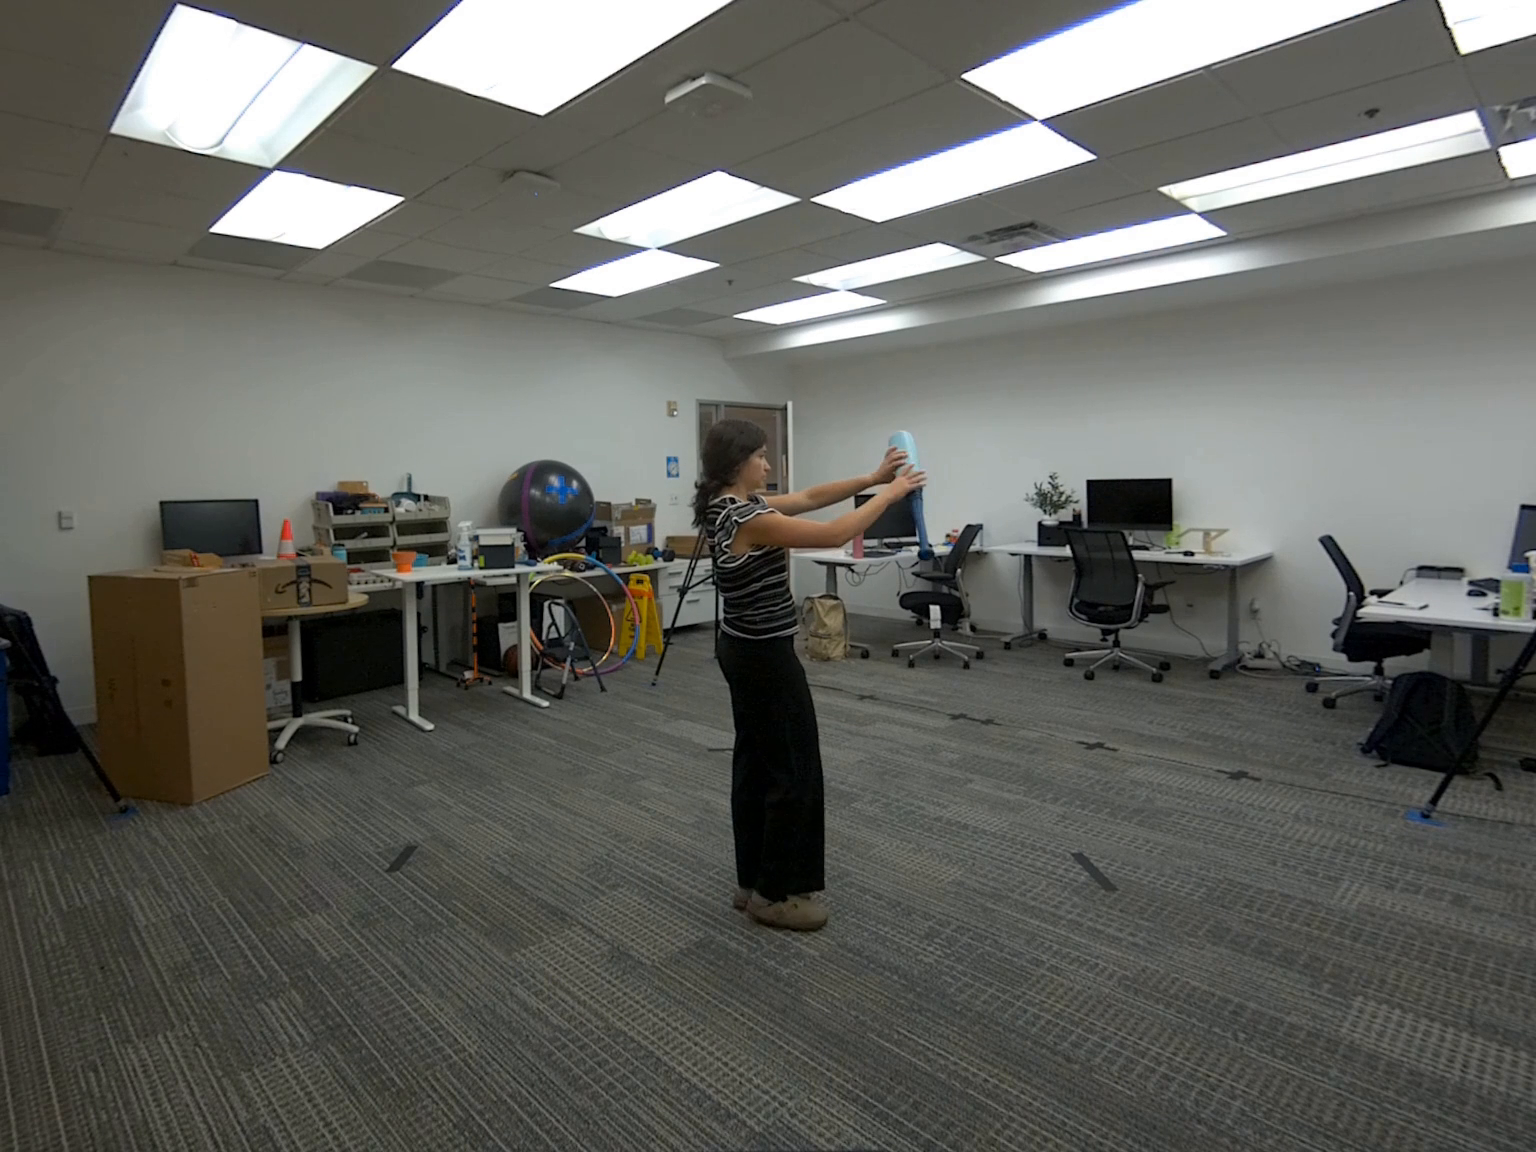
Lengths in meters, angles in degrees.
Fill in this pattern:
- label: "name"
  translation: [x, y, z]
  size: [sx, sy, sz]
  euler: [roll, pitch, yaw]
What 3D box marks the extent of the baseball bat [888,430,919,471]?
- label: "baseball bat"
  translation: [0.470, -0.266, 2.713]
  size: [0.089, 0.086, 0.558]
  euler: [-2, 47, -1]
